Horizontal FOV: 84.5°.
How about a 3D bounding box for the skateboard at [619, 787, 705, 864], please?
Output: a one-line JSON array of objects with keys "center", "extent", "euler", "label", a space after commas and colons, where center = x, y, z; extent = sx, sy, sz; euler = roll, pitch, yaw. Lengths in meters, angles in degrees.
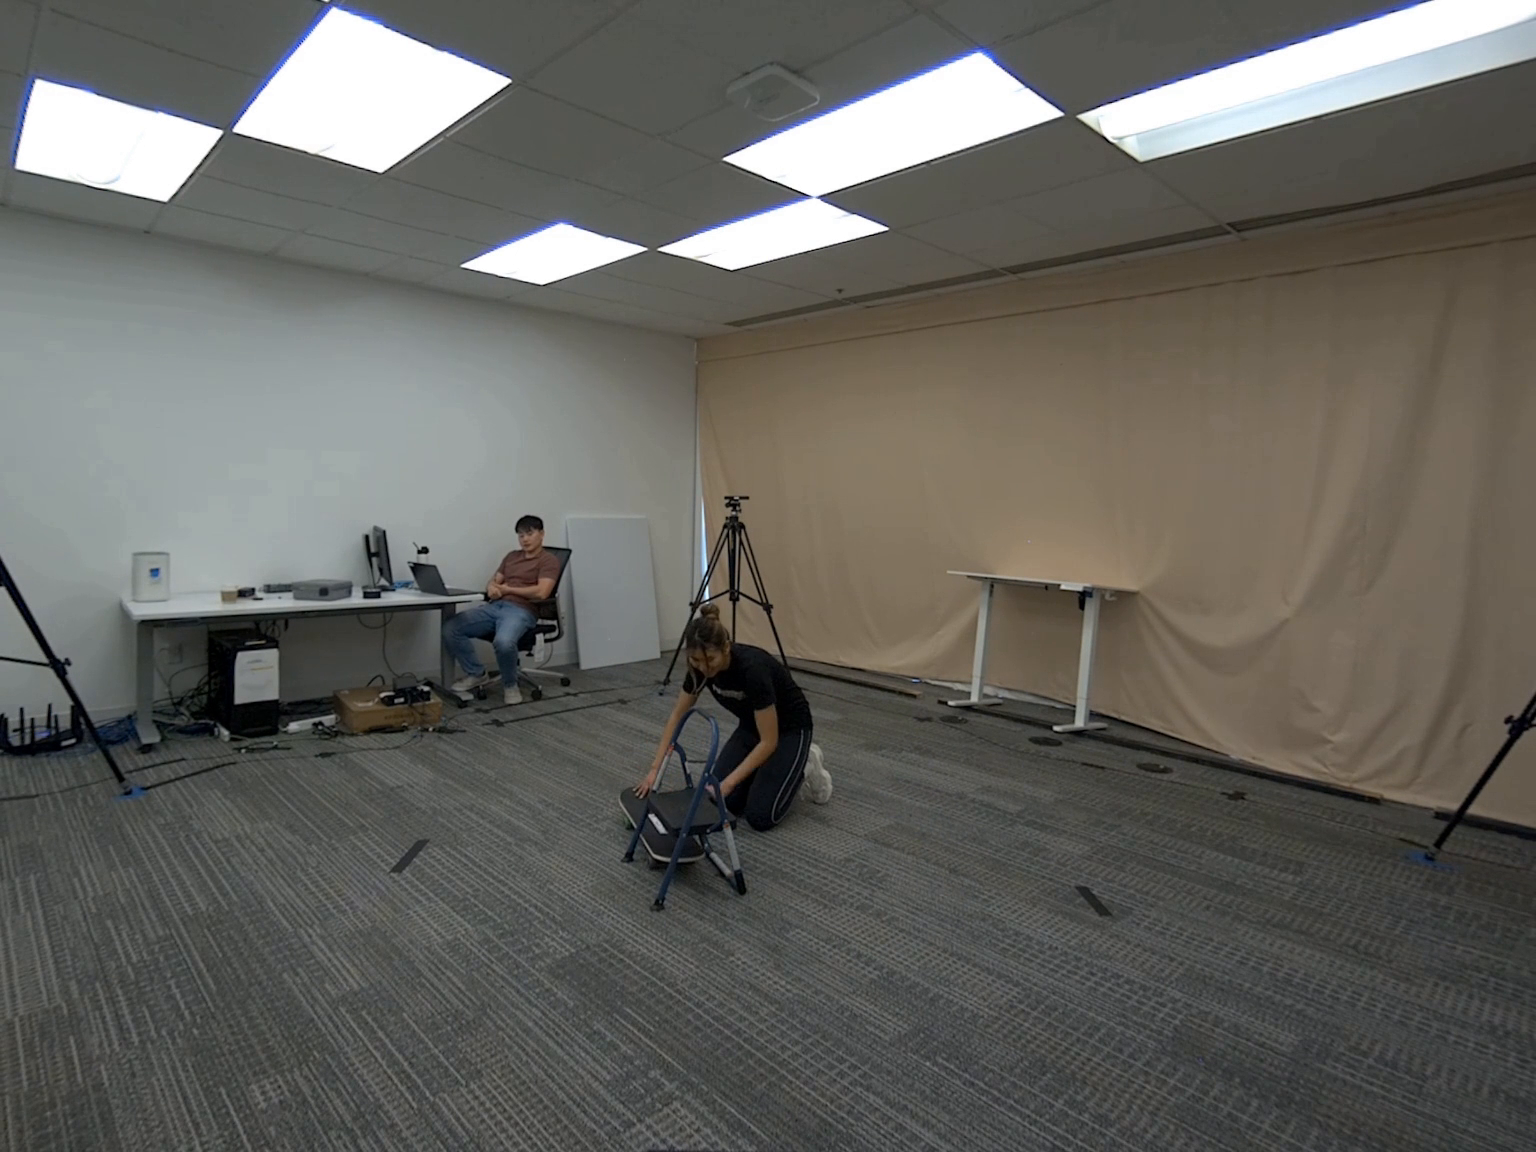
[{"center": [-0.438, 1.007, 3.352], "extent": [0.190, 0.110, 0.799], "euler": [1, 5, -21], "label": "skateboard"}]
